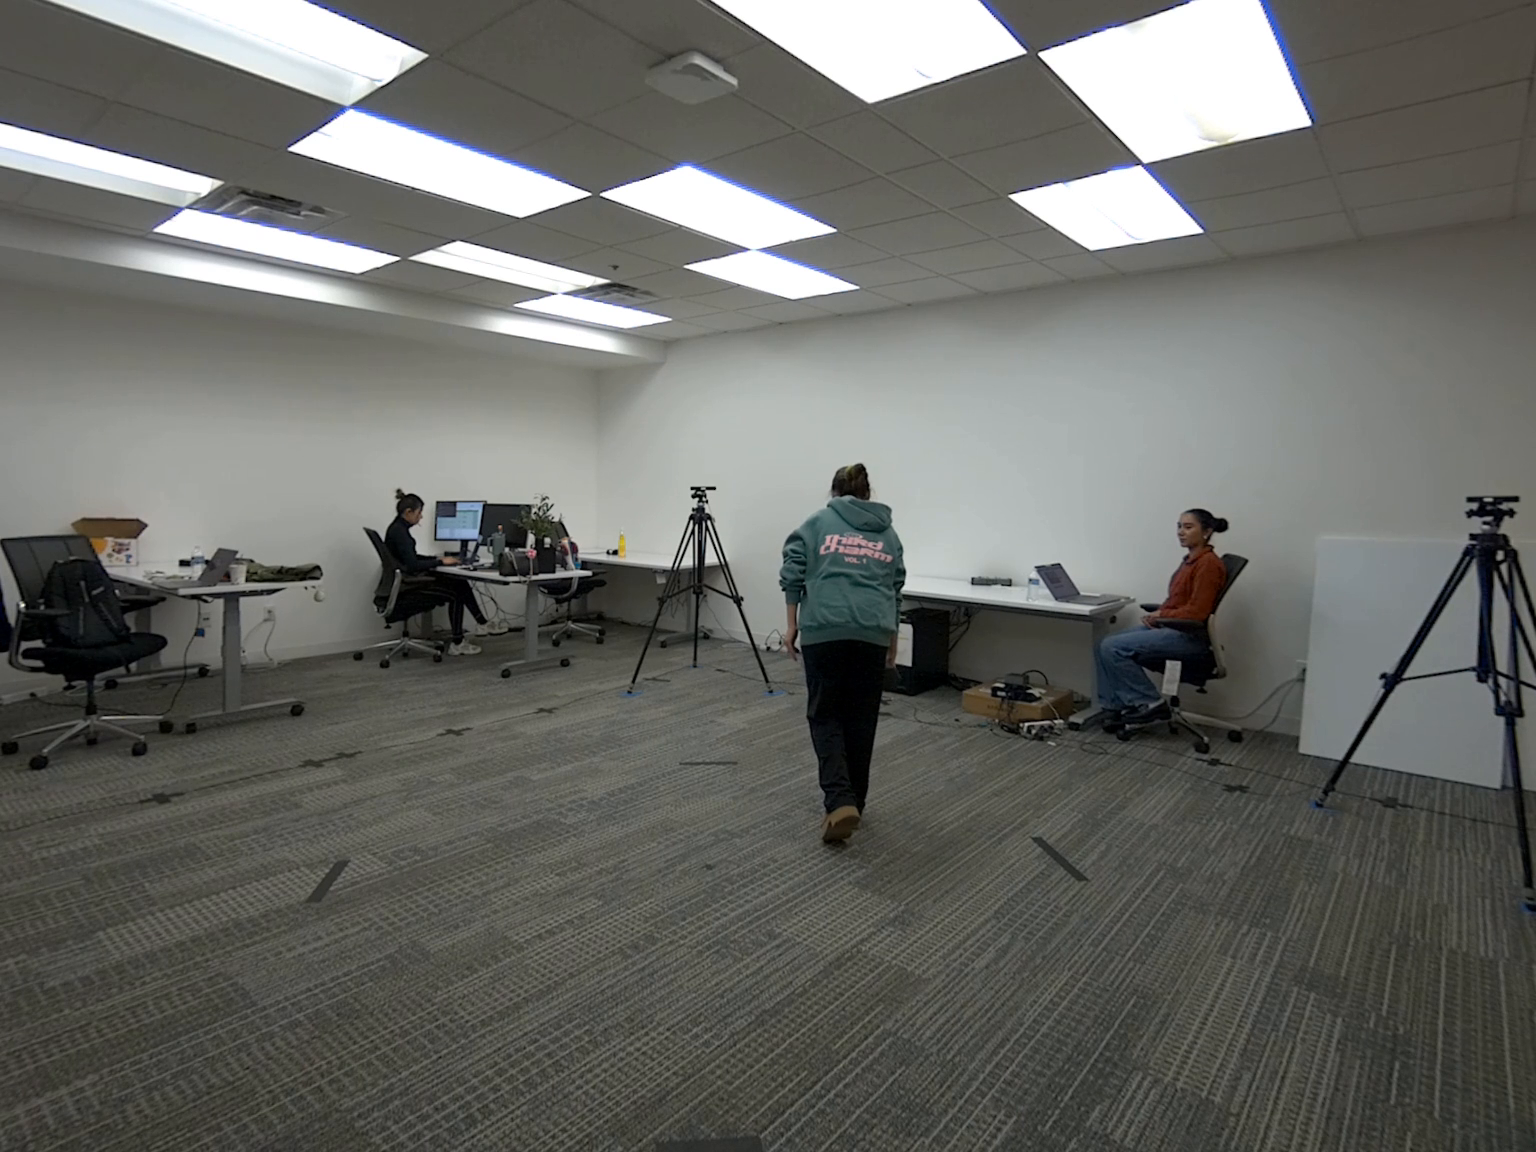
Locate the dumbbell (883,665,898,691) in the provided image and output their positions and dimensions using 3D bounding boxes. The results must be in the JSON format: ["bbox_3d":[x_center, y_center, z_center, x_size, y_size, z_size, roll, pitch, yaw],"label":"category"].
[{"bbox_3d":[0.489,0.421,3.666,0.108,0.123,0.294,28,2,-3],"label":"dumbbell"}]
